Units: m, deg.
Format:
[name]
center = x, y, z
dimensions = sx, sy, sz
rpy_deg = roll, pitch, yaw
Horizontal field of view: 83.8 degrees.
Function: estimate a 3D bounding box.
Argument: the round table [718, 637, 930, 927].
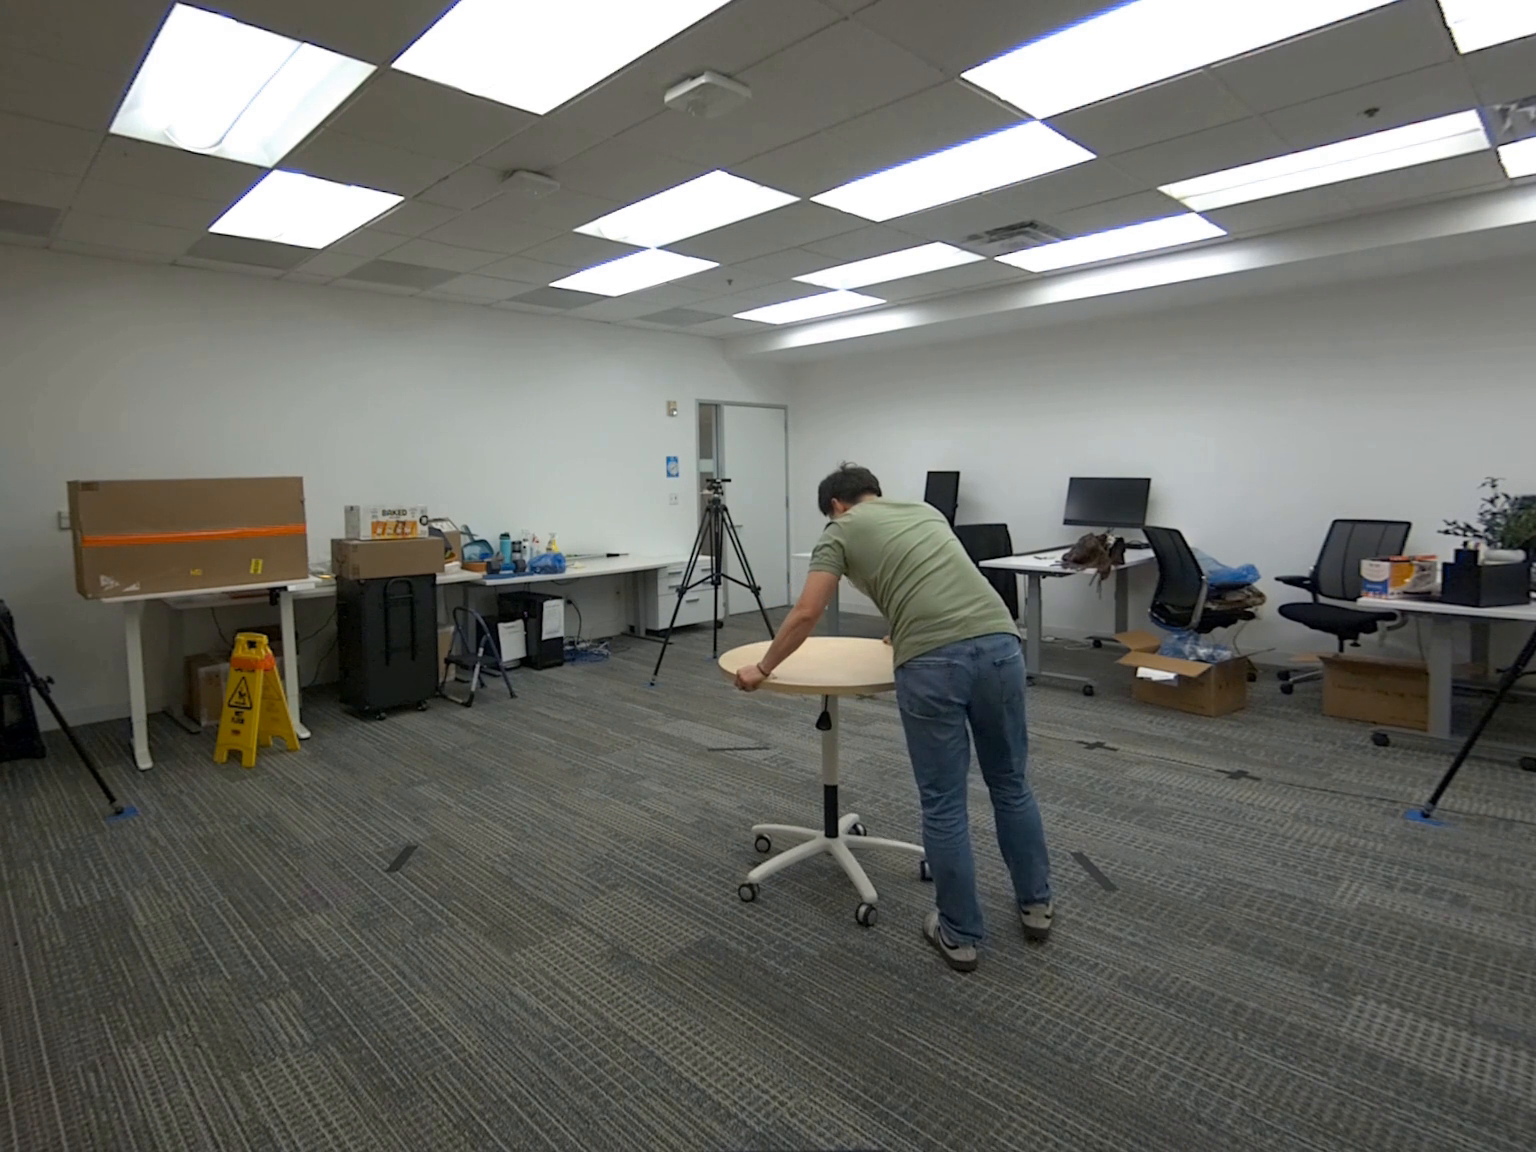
[round table]
center = 0.223, 0.671, 2.986
dimensions = 0.763, 0.790, 0.768
rpy_deg = -1, 5, -2
